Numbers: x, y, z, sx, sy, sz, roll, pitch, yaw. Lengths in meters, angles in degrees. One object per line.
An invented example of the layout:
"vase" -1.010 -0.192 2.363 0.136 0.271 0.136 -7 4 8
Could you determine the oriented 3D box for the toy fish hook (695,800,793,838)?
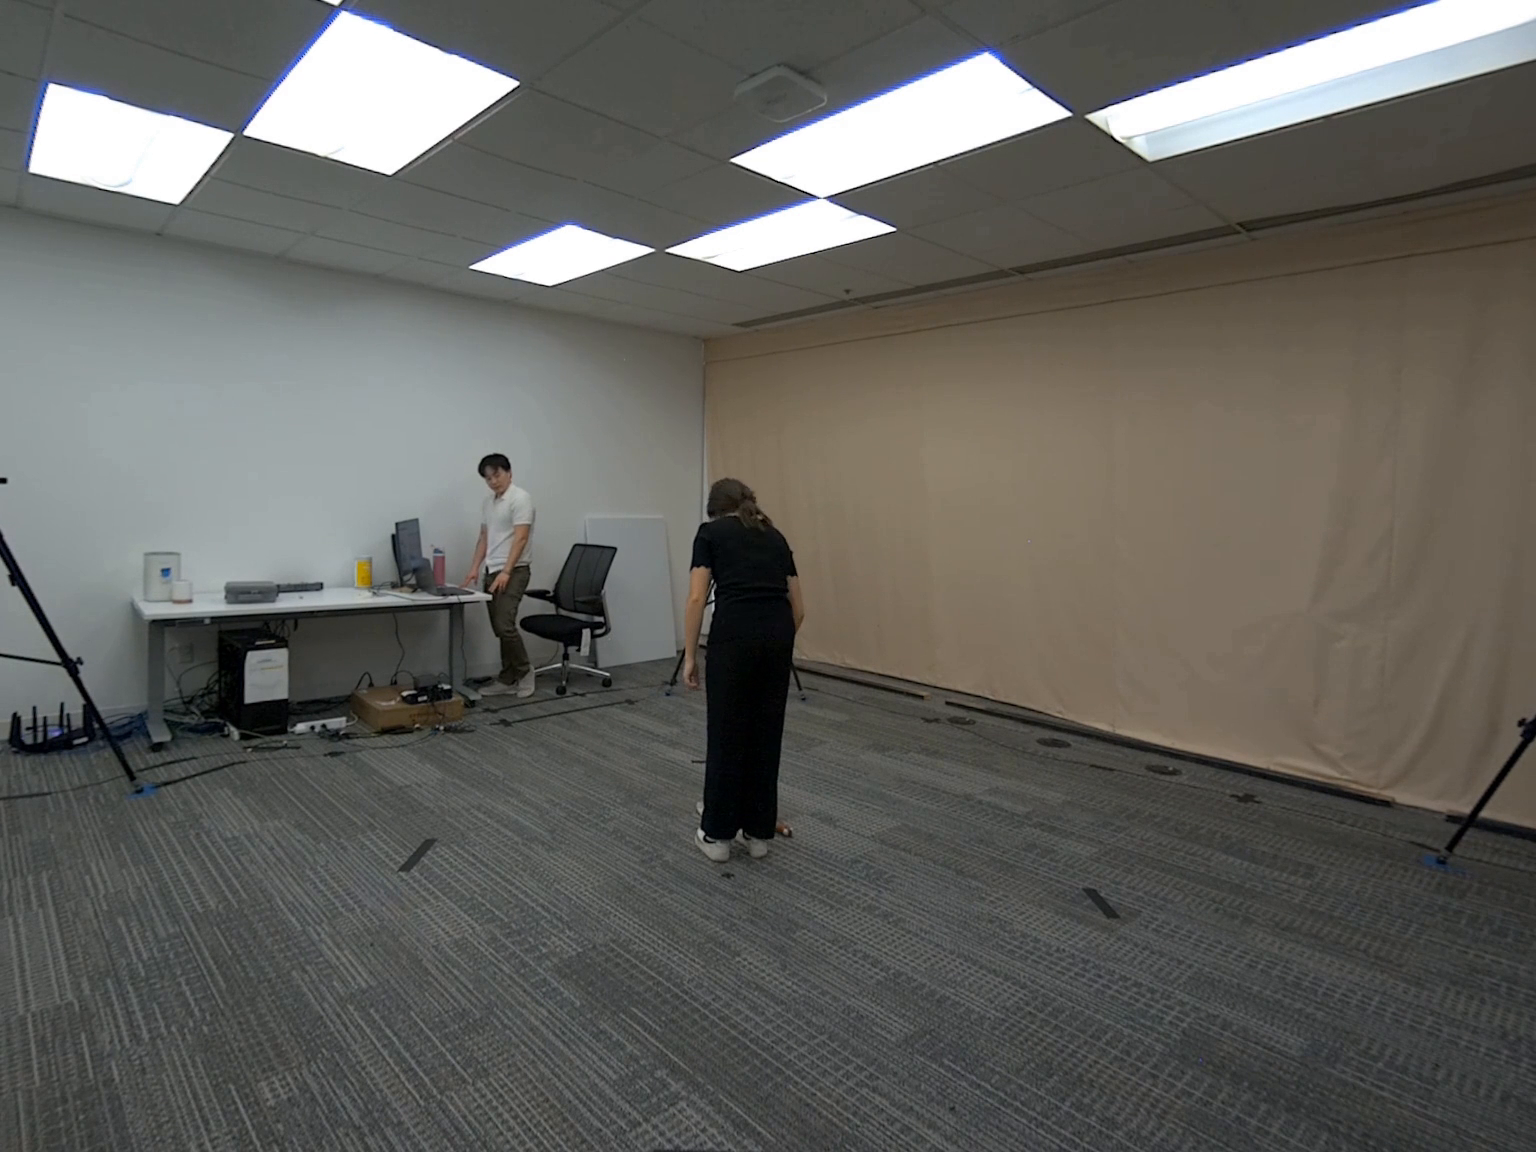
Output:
"toy fish hook" -0.120 1.050 3.627 0.220 0.048 0.519 -13 13 -40
